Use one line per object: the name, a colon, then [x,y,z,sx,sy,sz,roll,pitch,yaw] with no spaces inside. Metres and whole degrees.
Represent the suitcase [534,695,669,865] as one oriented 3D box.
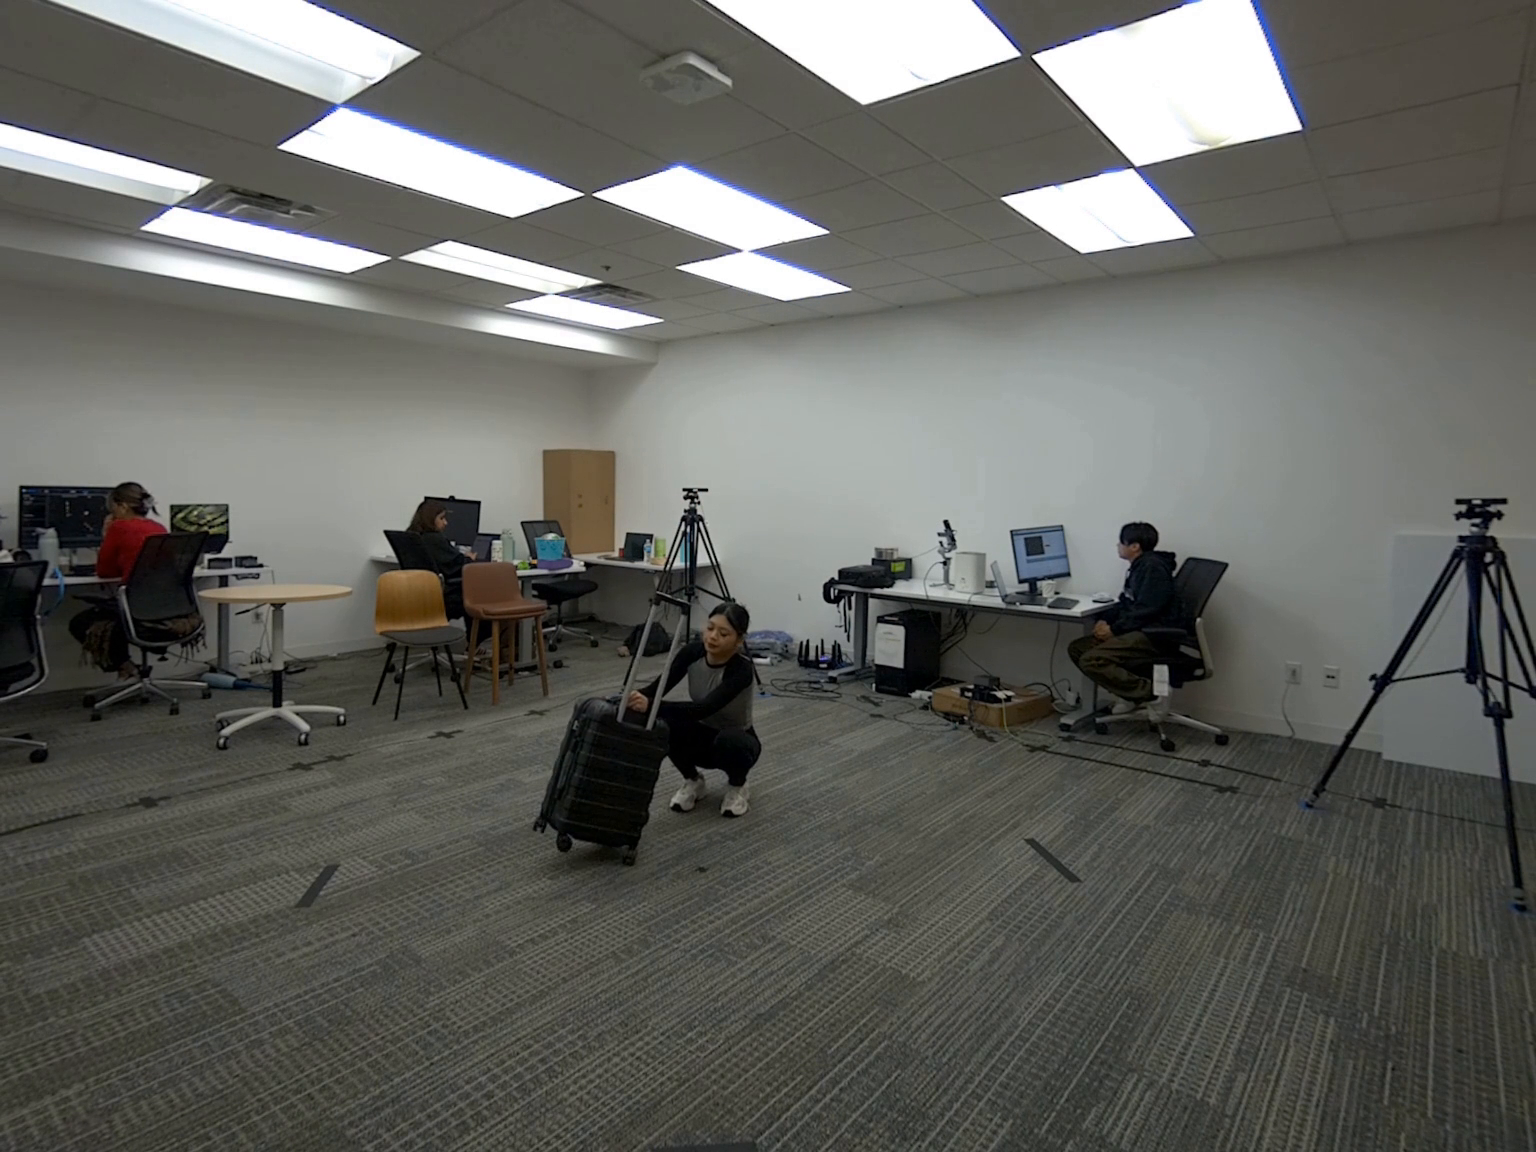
suitcase: [-0.573,0.552,3.252,0.372,0.985,0.264,21,-12,-28]
